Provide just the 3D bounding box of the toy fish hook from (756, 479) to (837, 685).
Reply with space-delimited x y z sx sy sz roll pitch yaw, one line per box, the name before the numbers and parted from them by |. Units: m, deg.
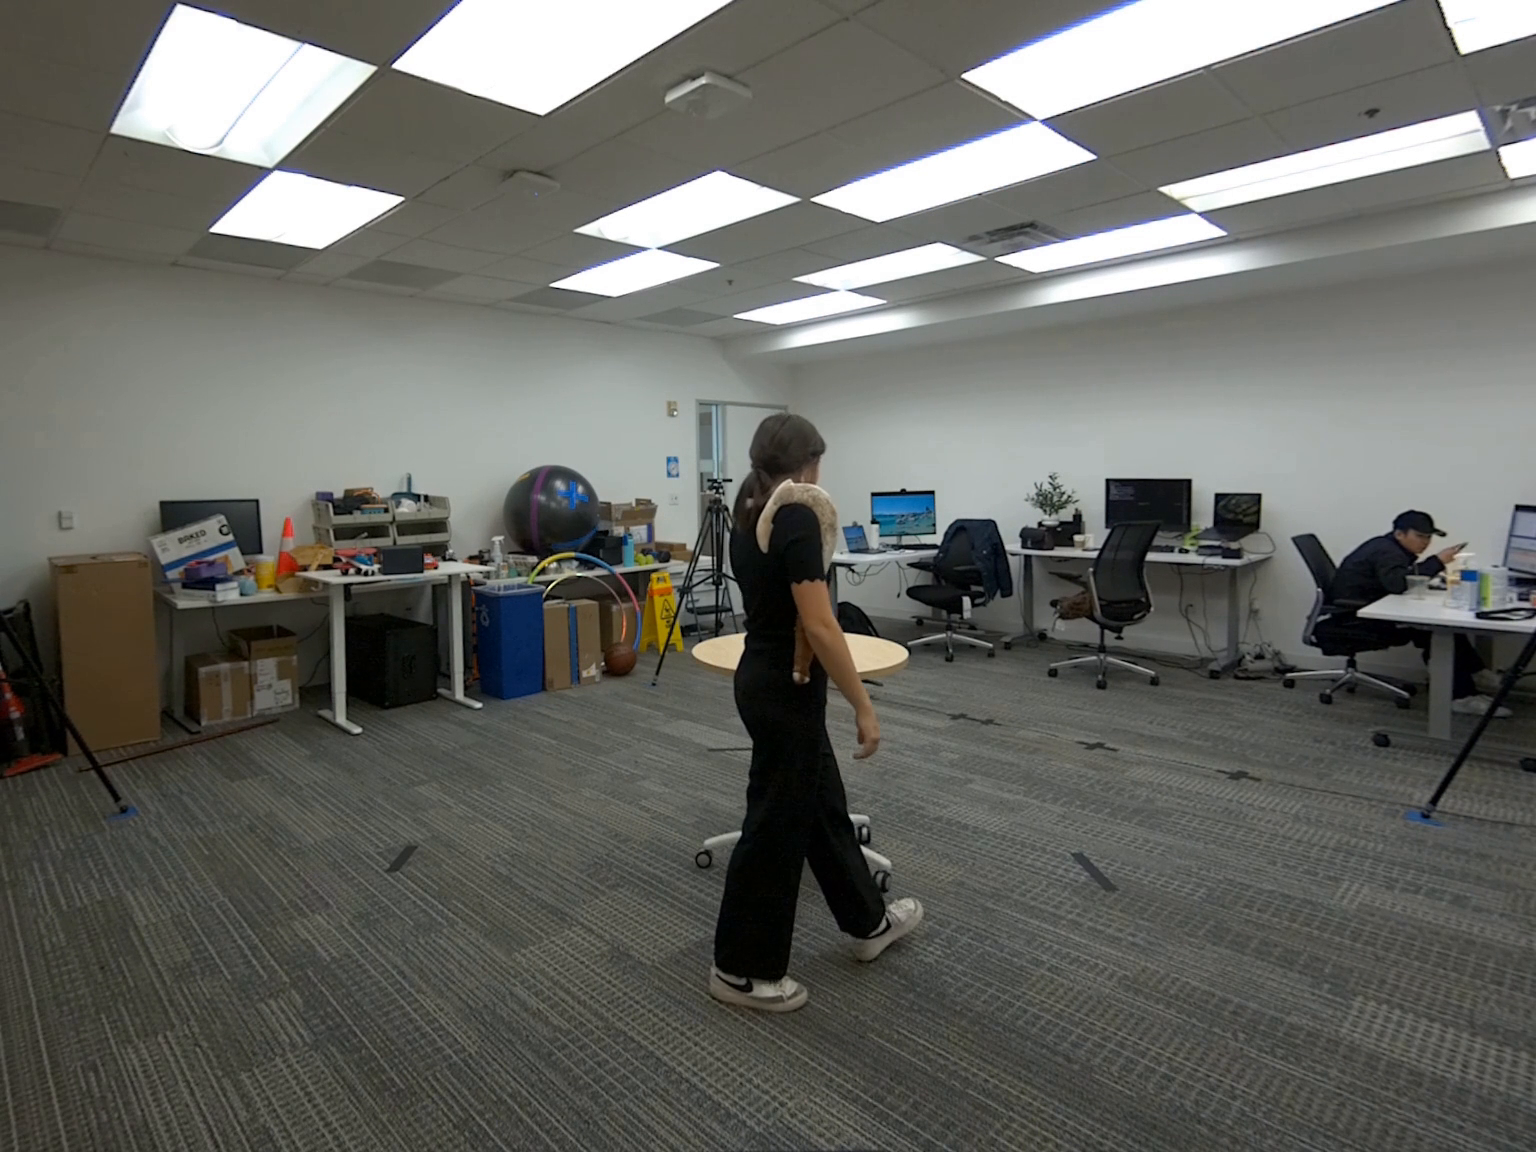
toy fish hook | 0.057 0.011 2.155 0.221 0.510 0.049 8 -9 -15
